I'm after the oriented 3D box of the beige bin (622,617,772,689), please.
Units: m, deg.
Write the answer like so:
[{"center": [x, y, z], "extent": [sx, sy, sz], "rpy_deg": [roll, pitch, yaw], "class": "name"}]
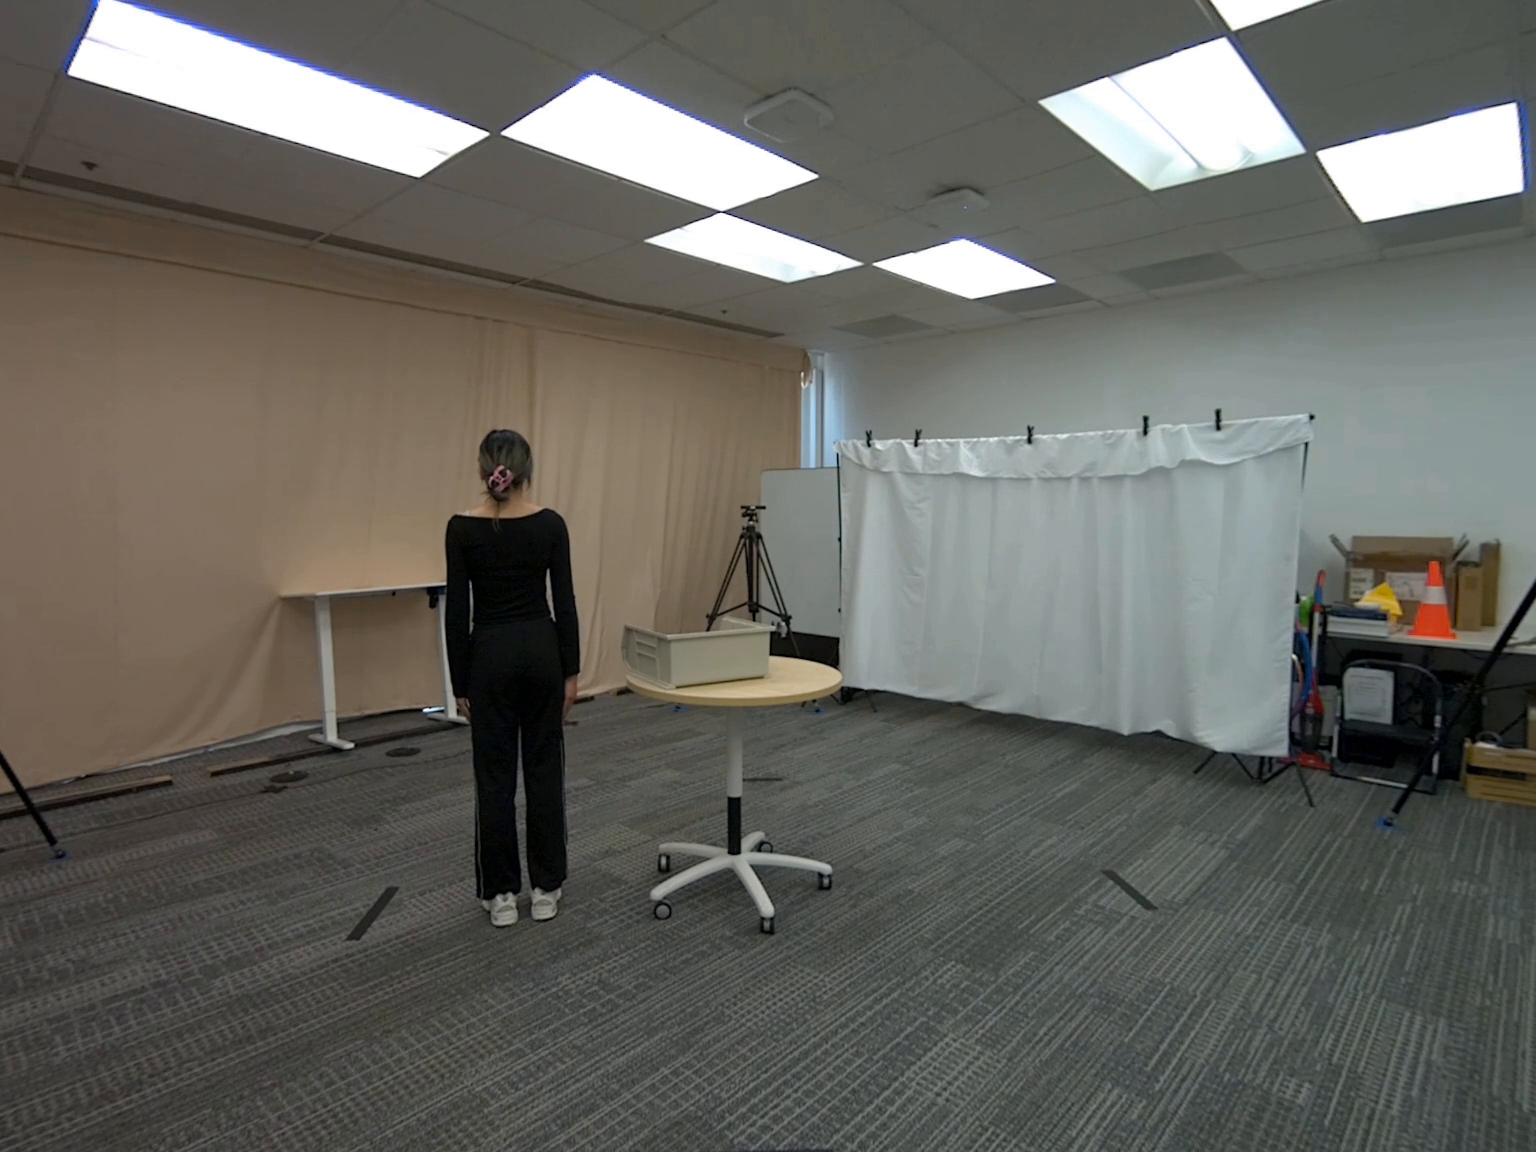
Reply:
[{"center": [-0.252, 0.263, 2.981], "extent": [0.411, 0.188, 0.389], "rpy_deg": [-2, 6, -31], "class": "beige bin"}]
